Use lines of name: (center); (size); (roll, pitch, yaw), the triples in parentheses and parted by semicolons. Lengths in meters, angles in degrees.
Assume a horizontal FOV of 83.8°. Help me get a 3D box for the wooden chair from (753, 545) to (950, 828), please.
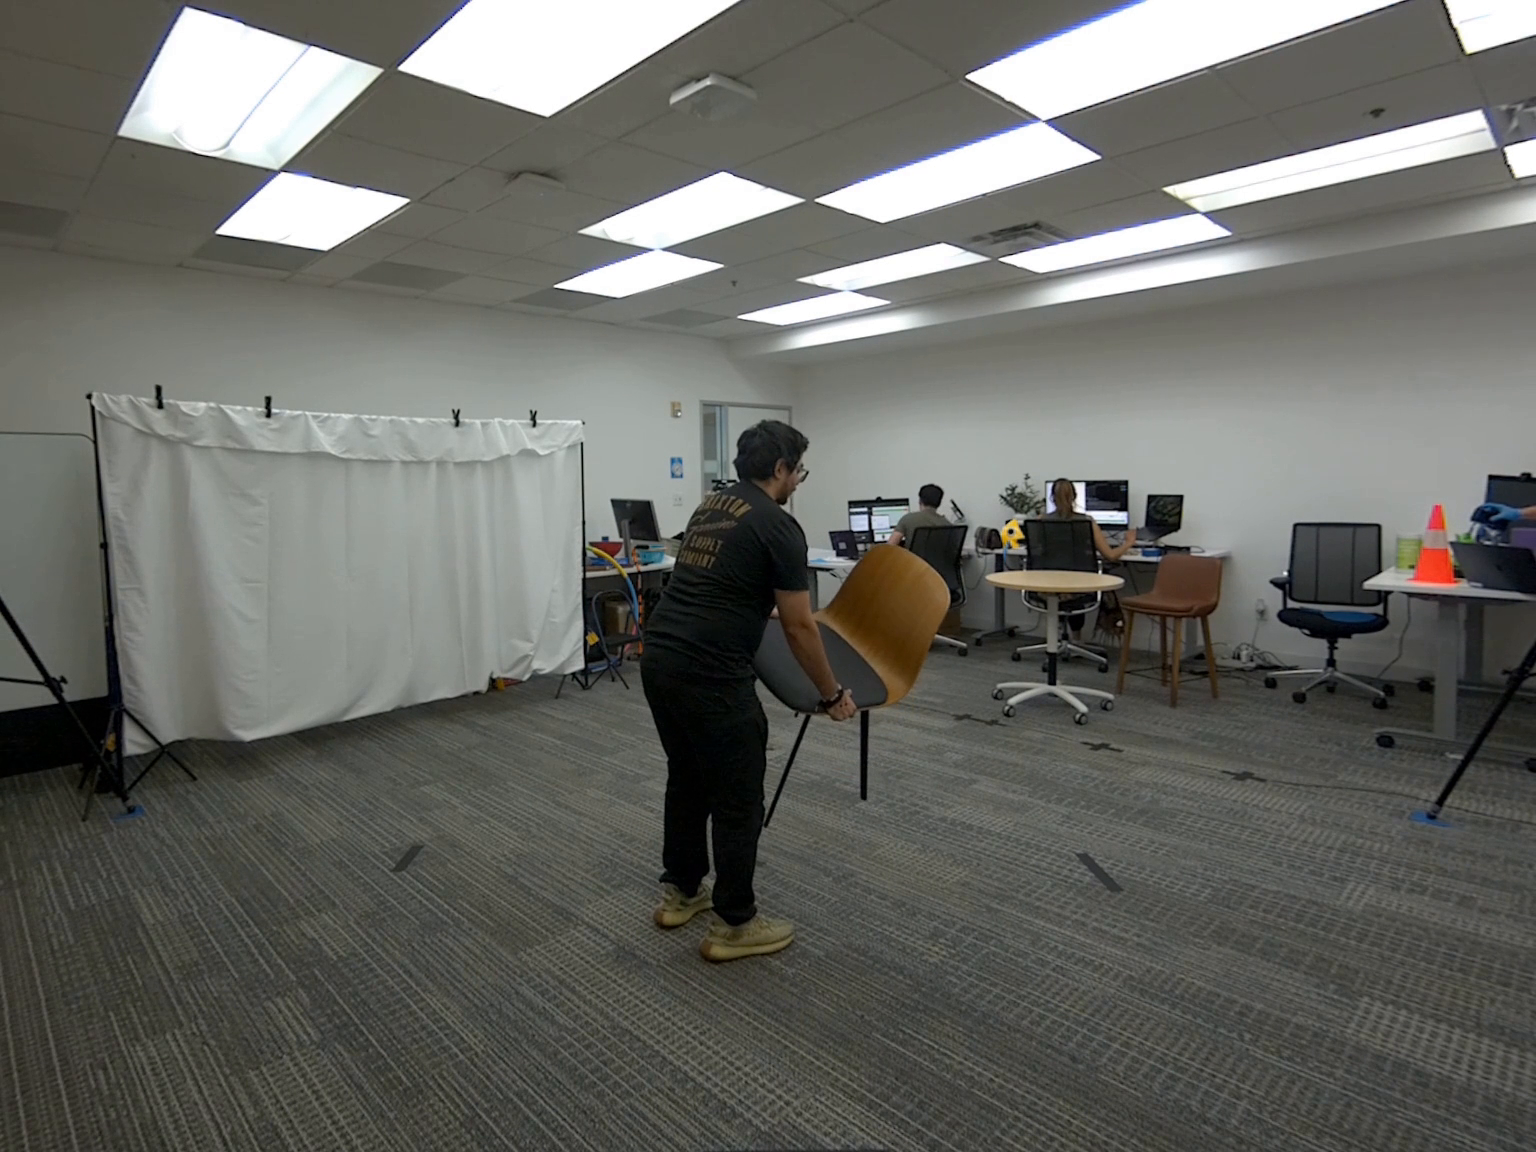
wooden chair: (0.180, 0.325, 2.853); (0.508, 0.868, 0.497); (3, 31, -38)
